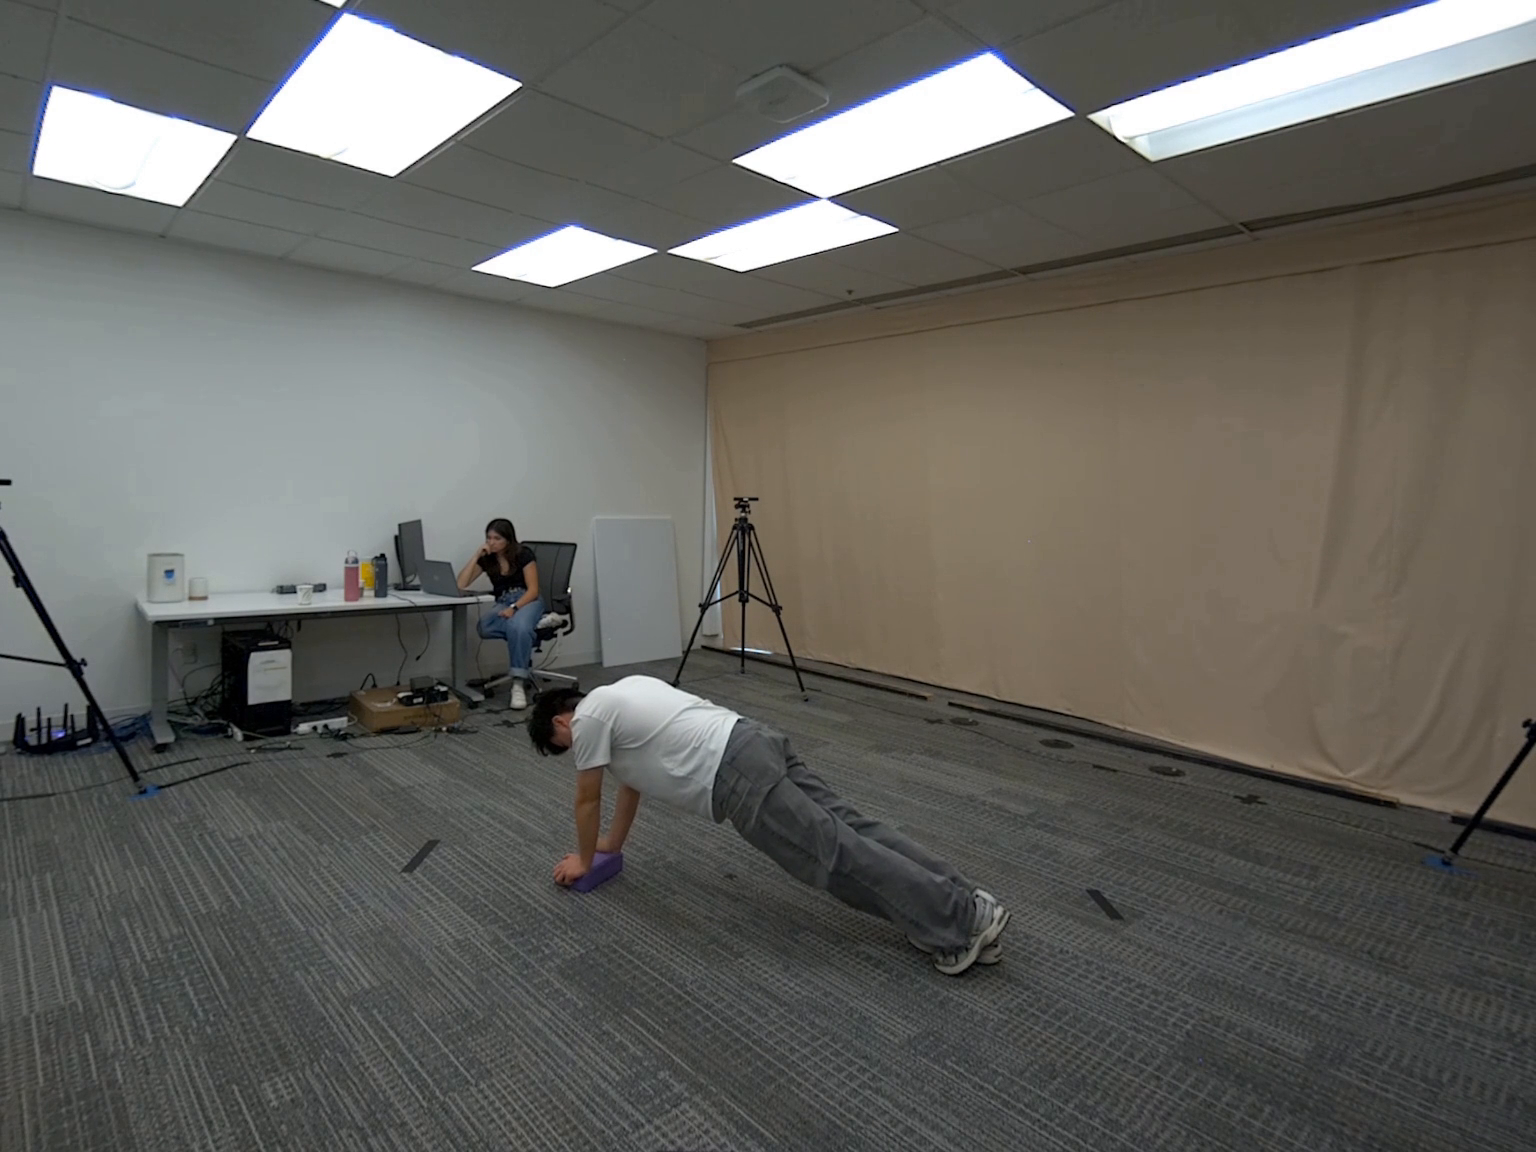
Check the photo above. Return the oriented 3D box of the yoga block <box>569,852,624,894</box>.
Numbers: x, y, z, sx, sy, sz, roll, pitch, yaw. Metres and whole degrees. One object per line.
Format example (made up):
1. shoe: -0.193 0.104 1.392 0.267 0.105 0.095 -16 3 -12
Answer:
1. yoga block: -0.662 1.069 3.069 0.152 0.076 0.225 2 6 28
